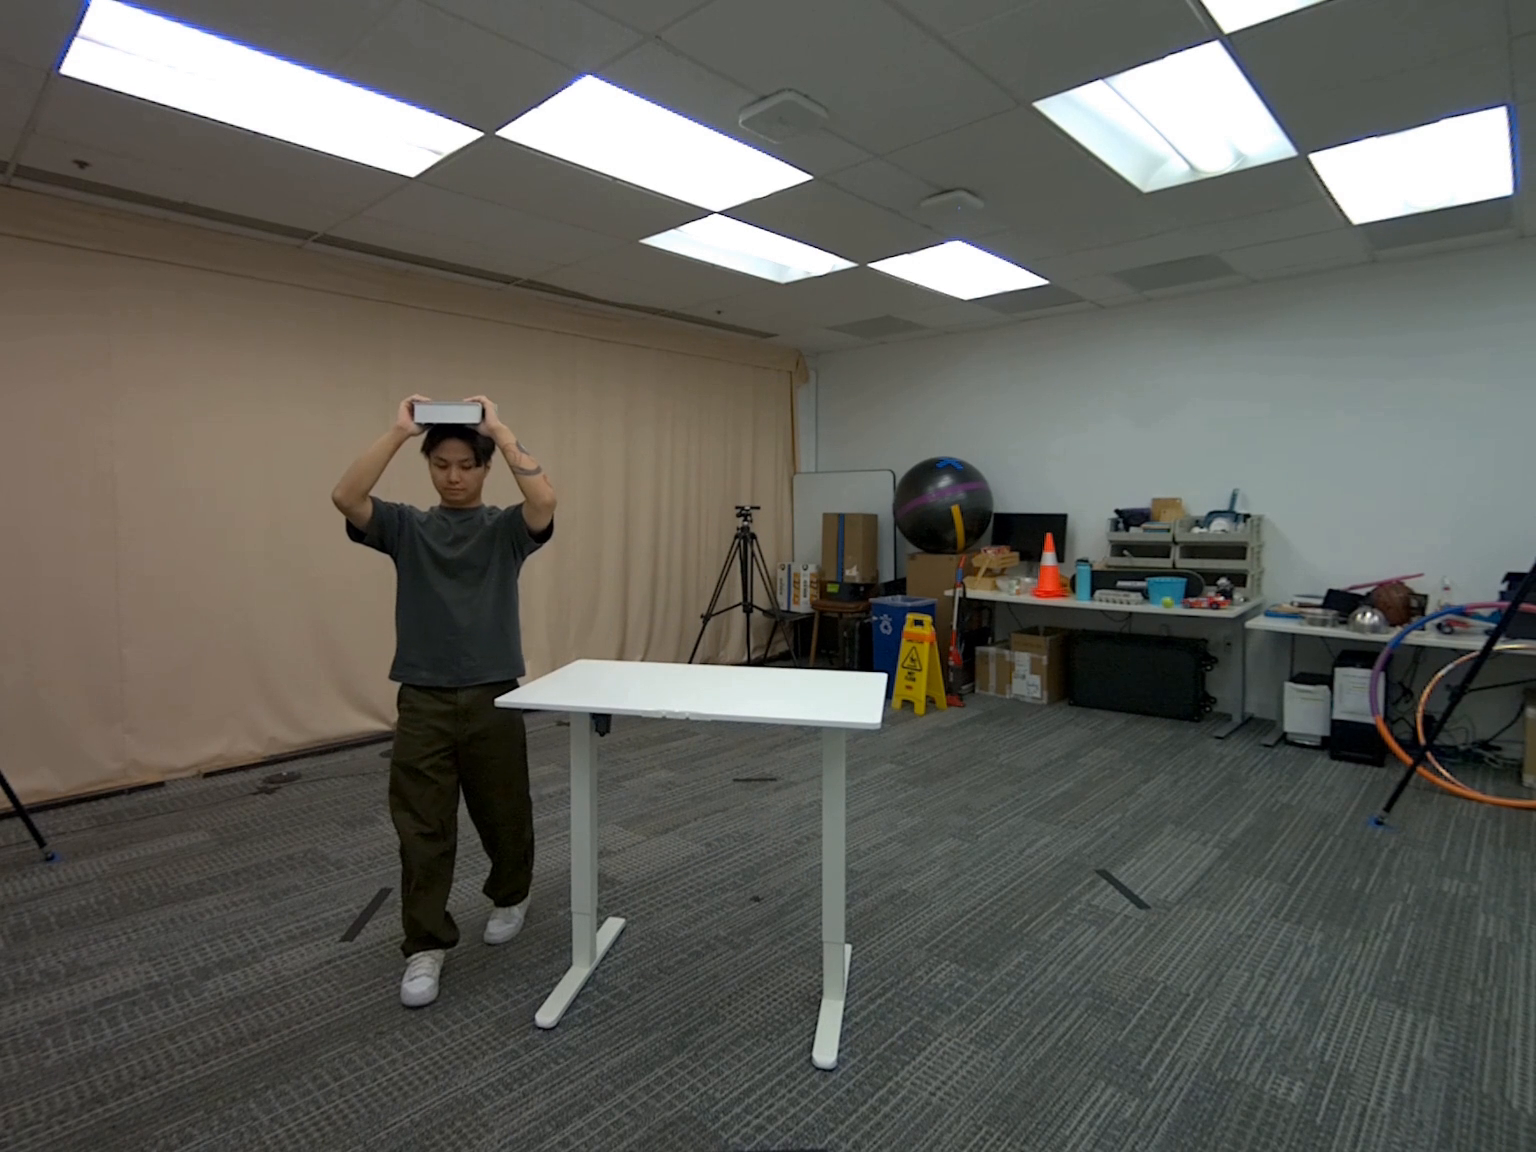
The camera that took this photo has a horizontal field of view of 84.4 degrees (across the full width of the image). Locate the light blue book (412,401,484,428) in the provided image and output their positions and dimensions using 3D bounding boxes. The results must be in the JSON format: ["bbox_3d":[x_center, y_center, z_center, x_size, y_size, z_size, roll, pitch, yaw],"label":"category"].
[{"bbox_3d":[-0.918,-0.481,2.463,0.190,0.059,0.264,1,10,-8],"label":"light blue book"}]
